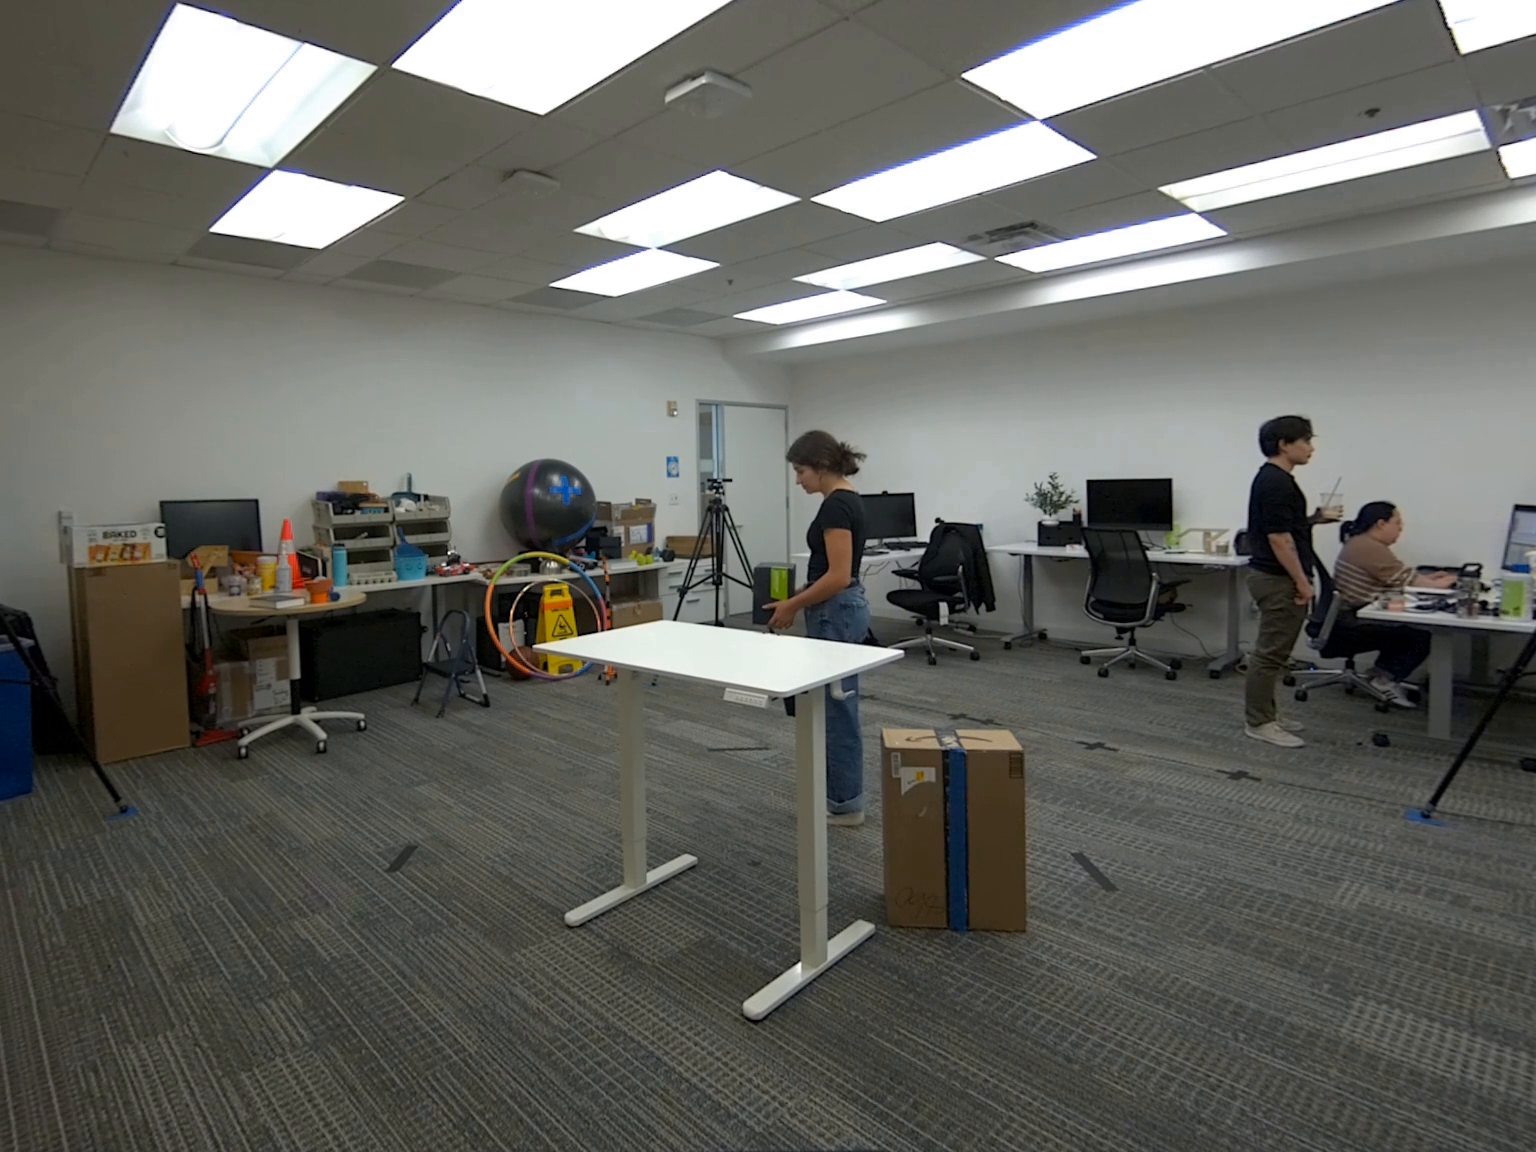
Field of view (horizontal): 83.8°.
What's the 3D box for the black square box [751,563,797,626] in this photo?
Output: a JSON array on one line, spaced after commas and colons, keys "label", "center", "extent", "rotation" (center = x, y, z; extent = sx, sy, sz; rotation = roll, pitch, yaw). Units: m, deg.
[{"label": "black square box", "center": [0.031, 0.065, 3.456], "extent": [0.157, 0.227, 0.216], "rotation": [1, 5, 6]}]
